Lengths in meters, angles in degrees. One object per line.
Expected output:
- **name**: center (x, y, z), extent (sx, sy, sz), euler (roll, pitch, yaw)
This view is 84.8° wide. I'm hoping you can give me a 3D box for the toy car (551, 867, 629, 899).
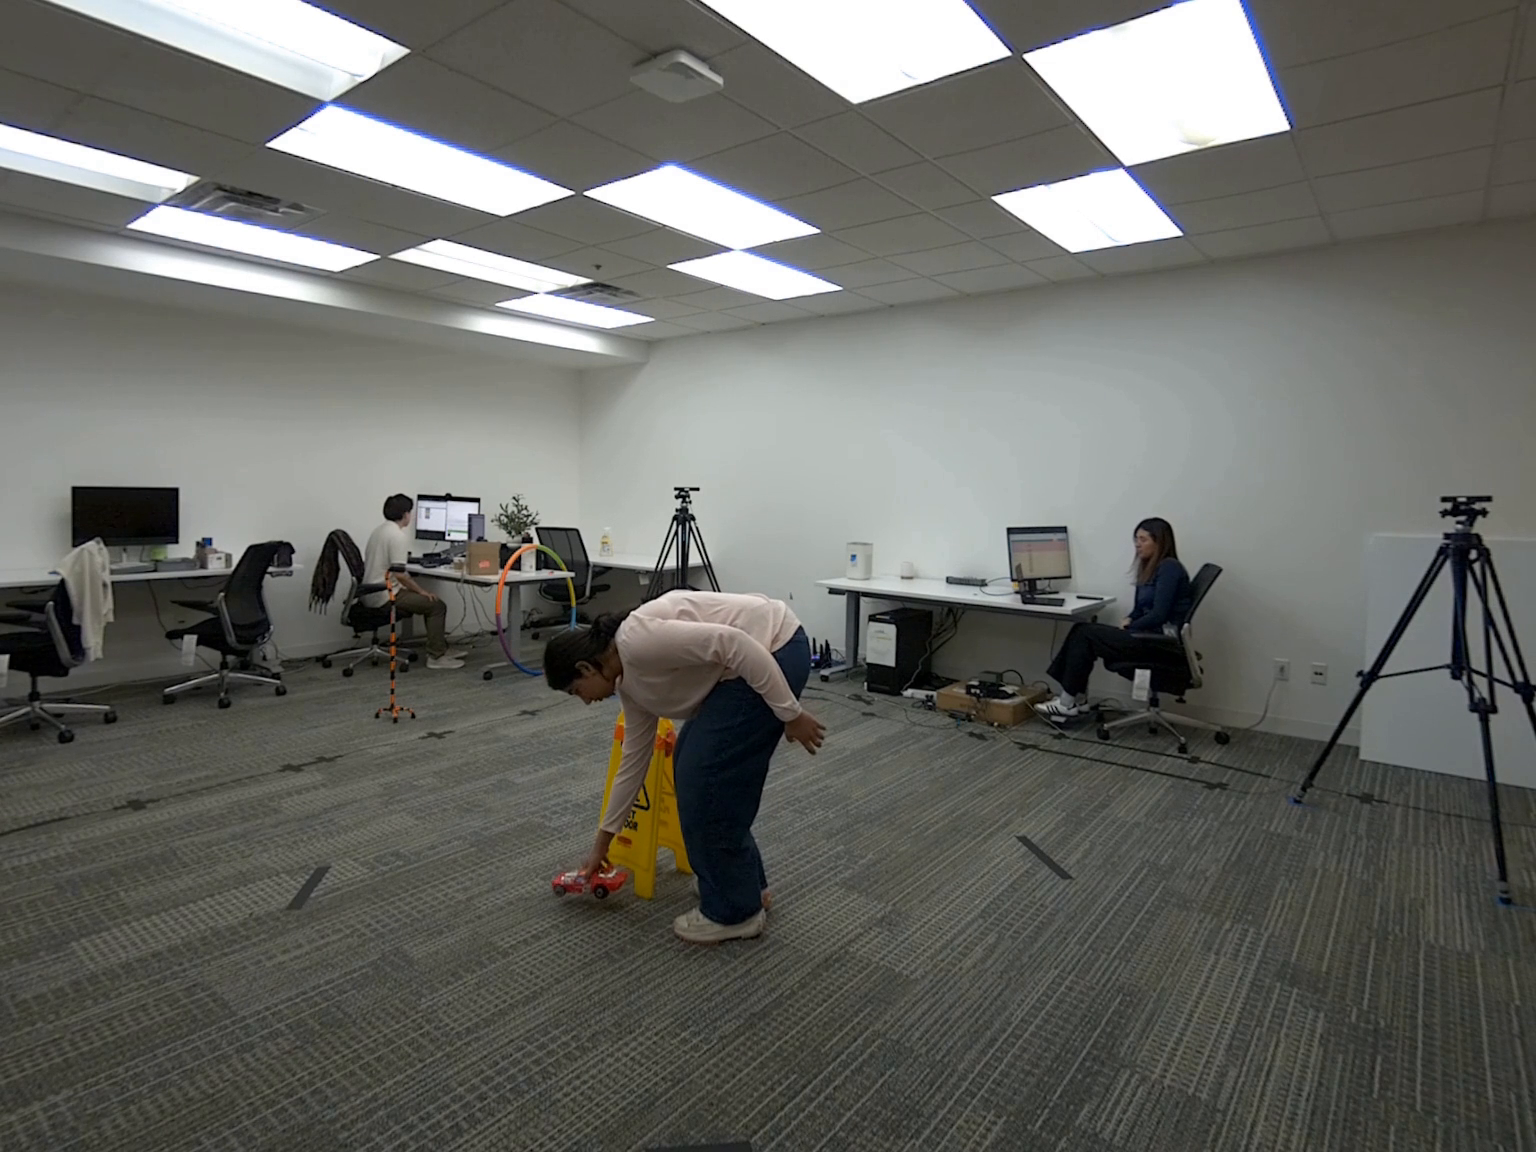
- **toy car**: center (-0.592, 1.015, 2.816), extent (0.257, 0.083, 0.129), euler (-11, 1, 12)
